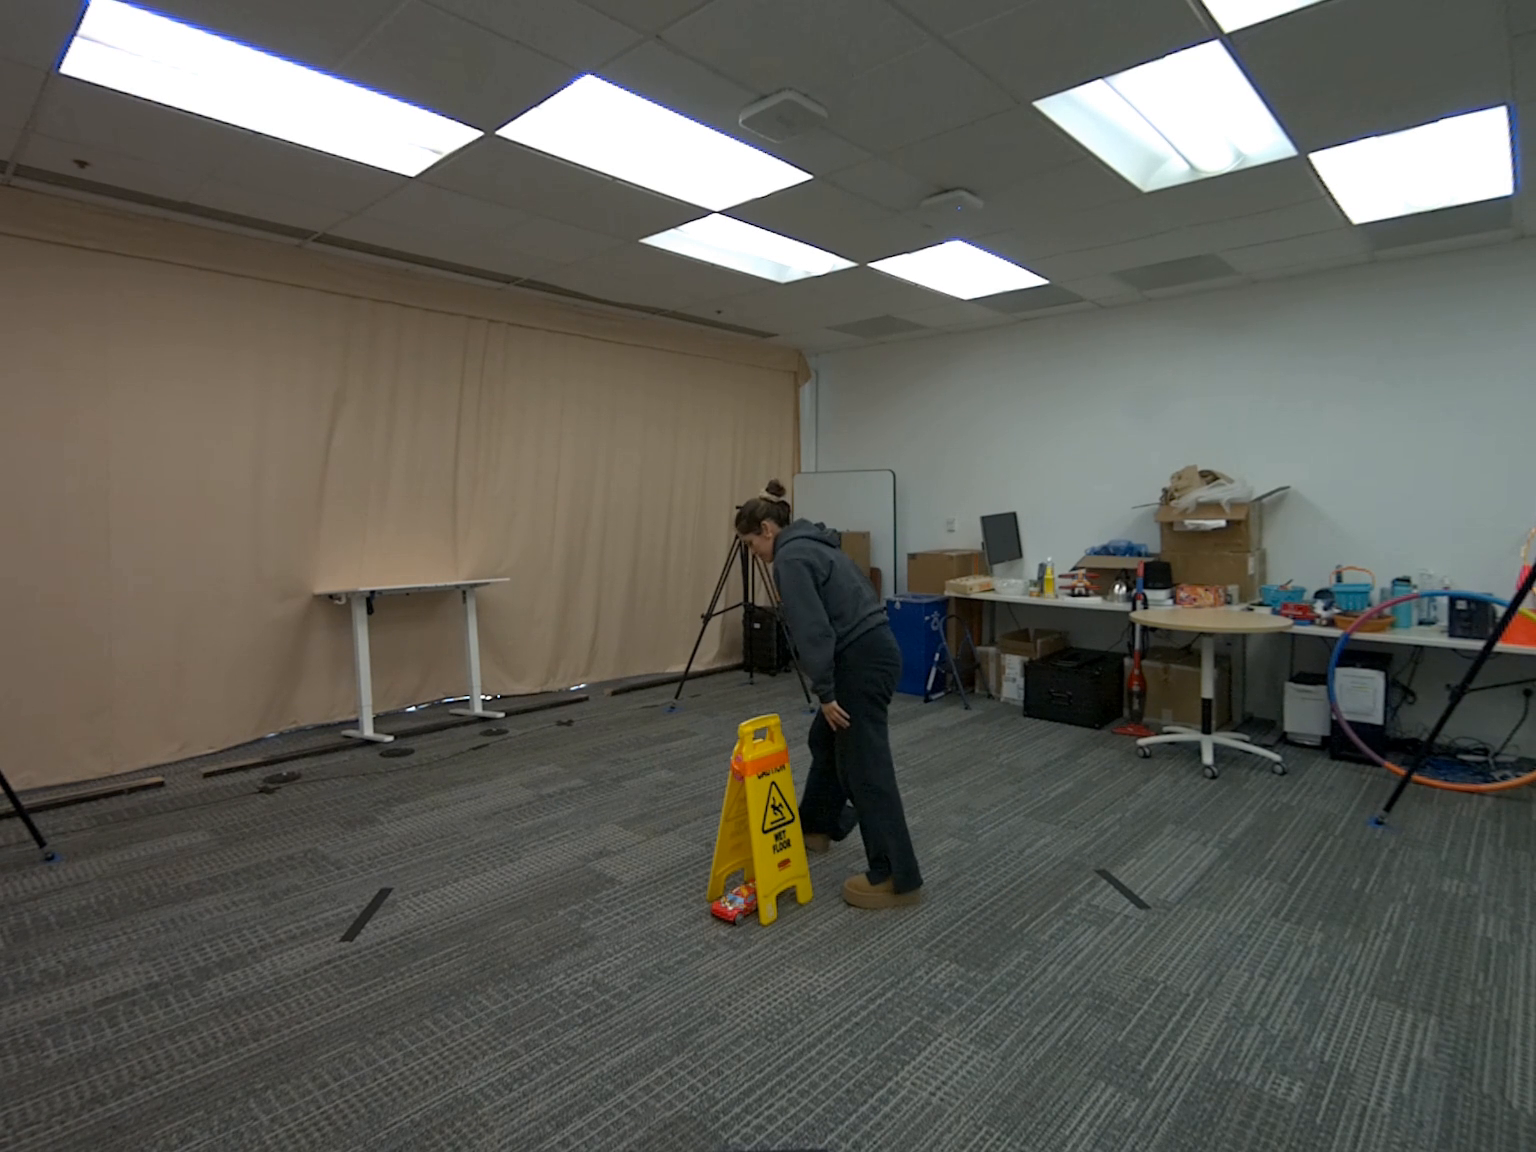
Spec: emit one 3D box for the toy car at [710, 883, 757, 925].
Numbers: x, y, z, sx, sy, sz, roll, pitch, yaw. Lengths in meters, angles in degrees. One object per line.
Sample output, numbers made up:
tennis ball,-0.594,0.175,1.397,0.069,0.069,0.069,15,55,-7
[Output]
toy car,-0.070,1.120,2.910,0.134,0.082,0.248,2,15,41
